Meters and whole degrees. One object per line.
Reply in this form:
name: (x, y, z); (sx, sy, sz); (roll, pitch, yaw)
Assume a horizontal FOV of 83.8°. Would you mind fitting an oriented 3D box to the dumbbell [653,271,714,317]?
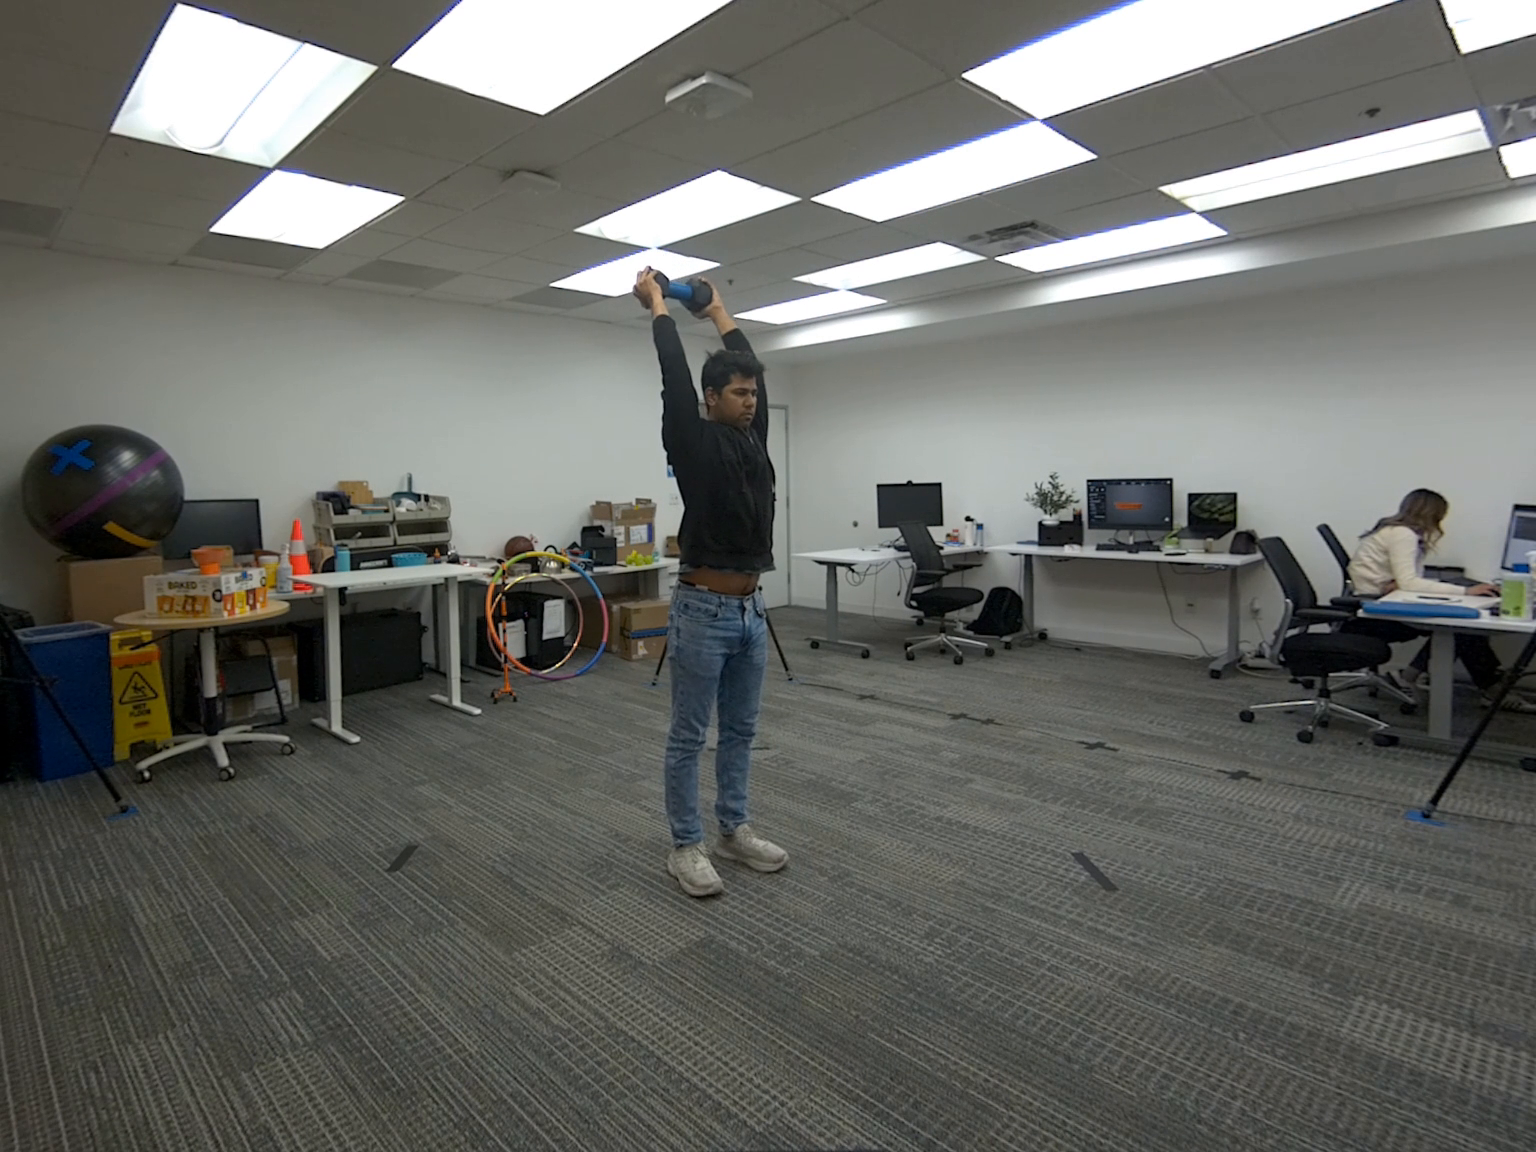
dumbbell: (-0.333, -1.056, 3.135); (0.285, 0.110, 0.124); (-4, -19, -45)
